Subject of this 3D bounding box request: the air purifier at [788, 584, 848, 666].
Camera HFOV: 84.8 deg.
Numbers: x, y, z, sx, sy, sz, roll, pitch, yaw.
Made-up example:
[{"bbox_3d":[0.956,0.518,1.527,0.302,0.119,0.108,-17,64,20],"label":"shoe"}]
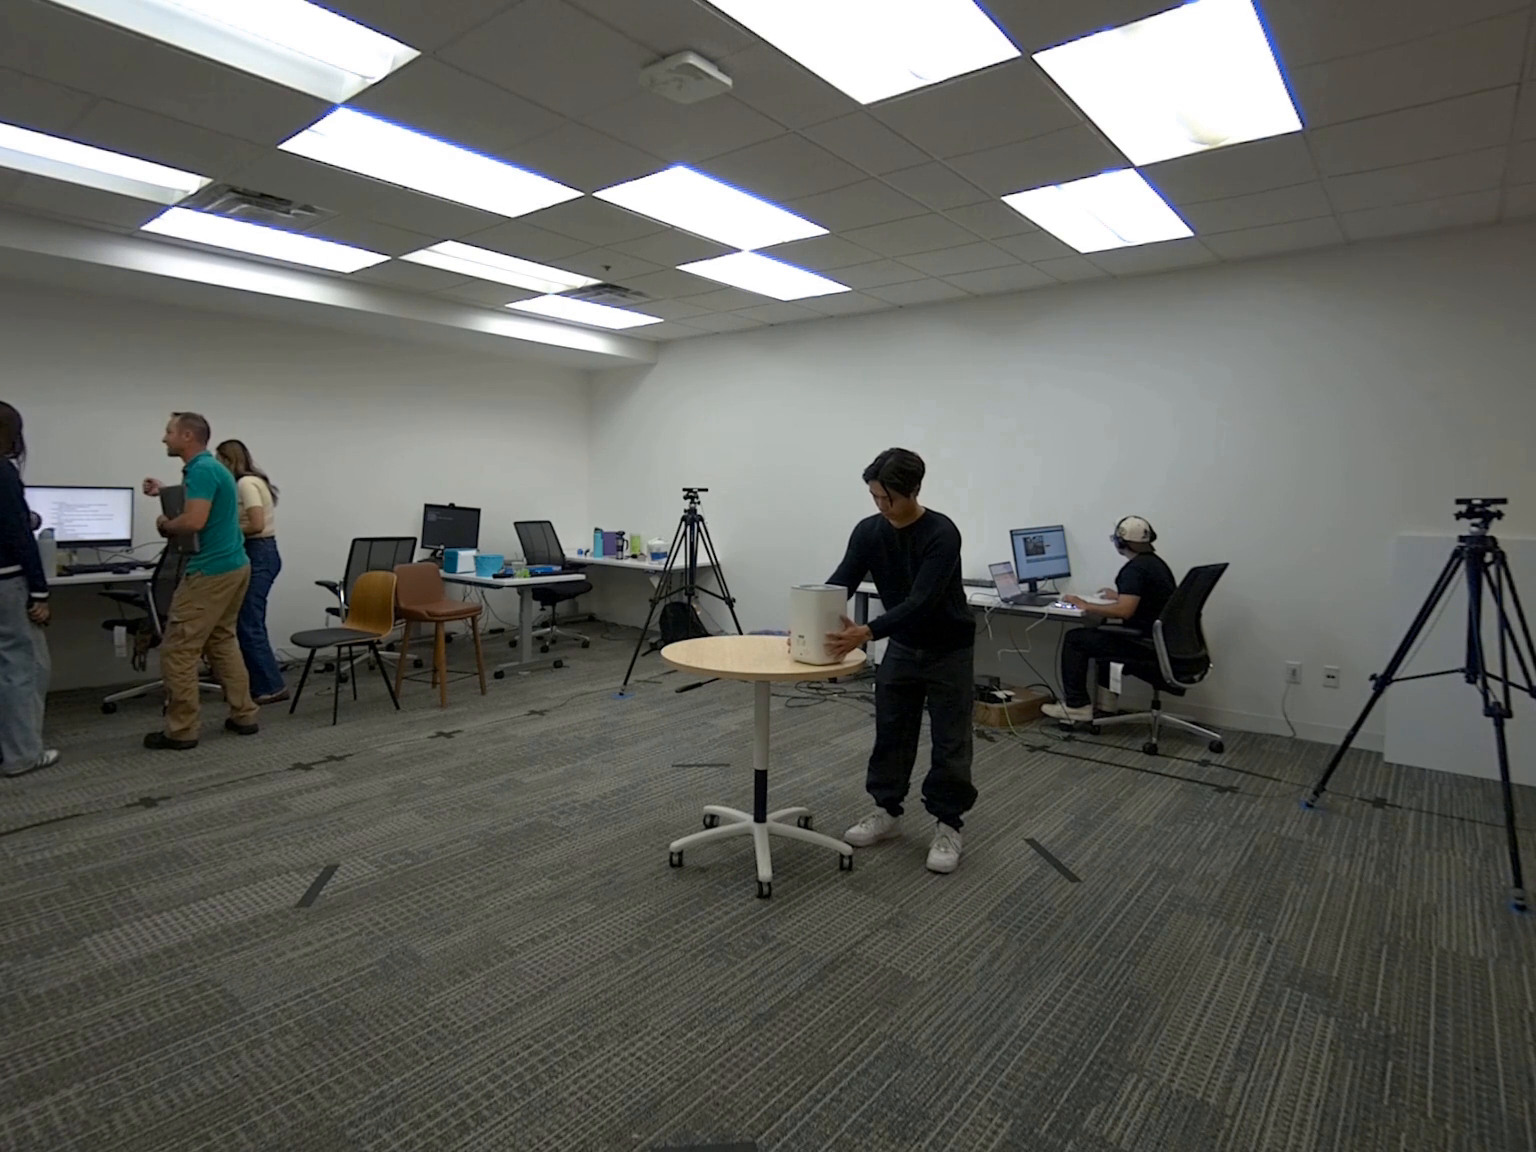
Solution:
[{"bbox_3d":[0.168,0.166,3.014,0.166,0.264,0.177,-3,5,-41],"label":"air purifier"}]
